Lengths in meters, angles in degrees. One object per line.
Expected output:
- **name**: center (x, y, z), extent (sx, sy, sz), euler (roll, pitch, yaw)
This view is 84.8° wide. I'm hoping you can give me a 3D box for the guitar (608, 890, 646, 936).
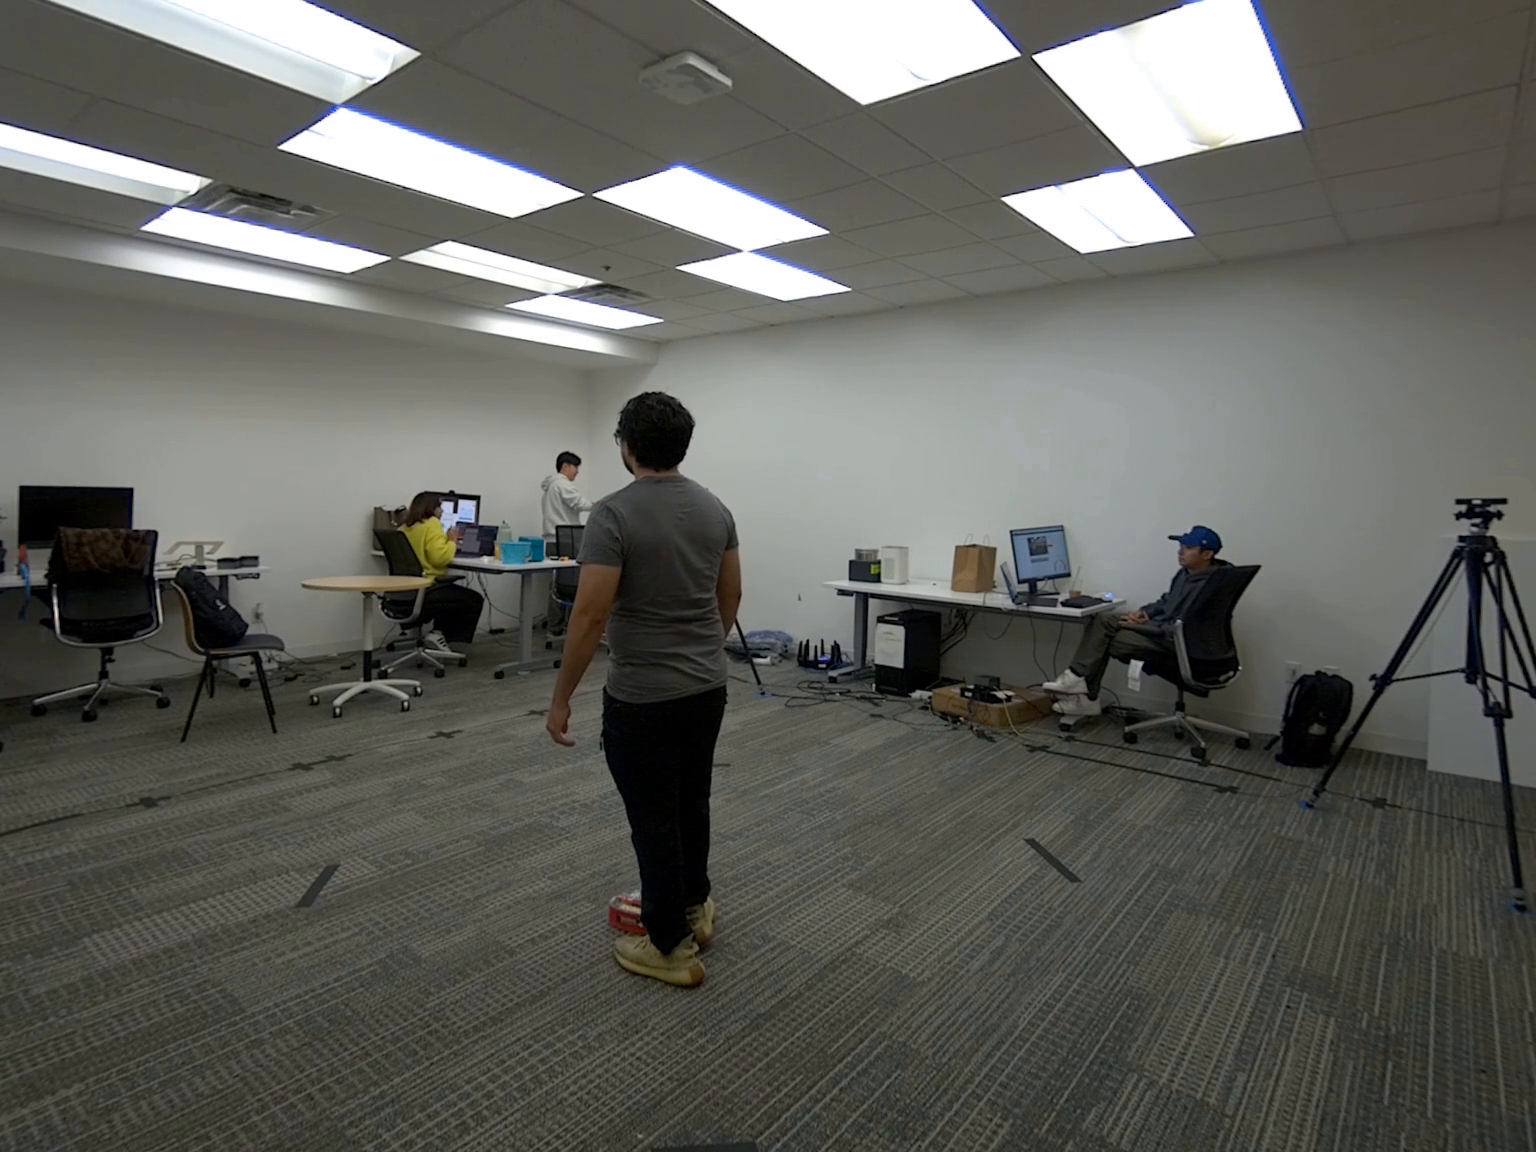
- **guitar**: center (-0.326, 1.055, 2.860), extent (0.199, 0.070, 0.485), euler (3, 6, 31)
